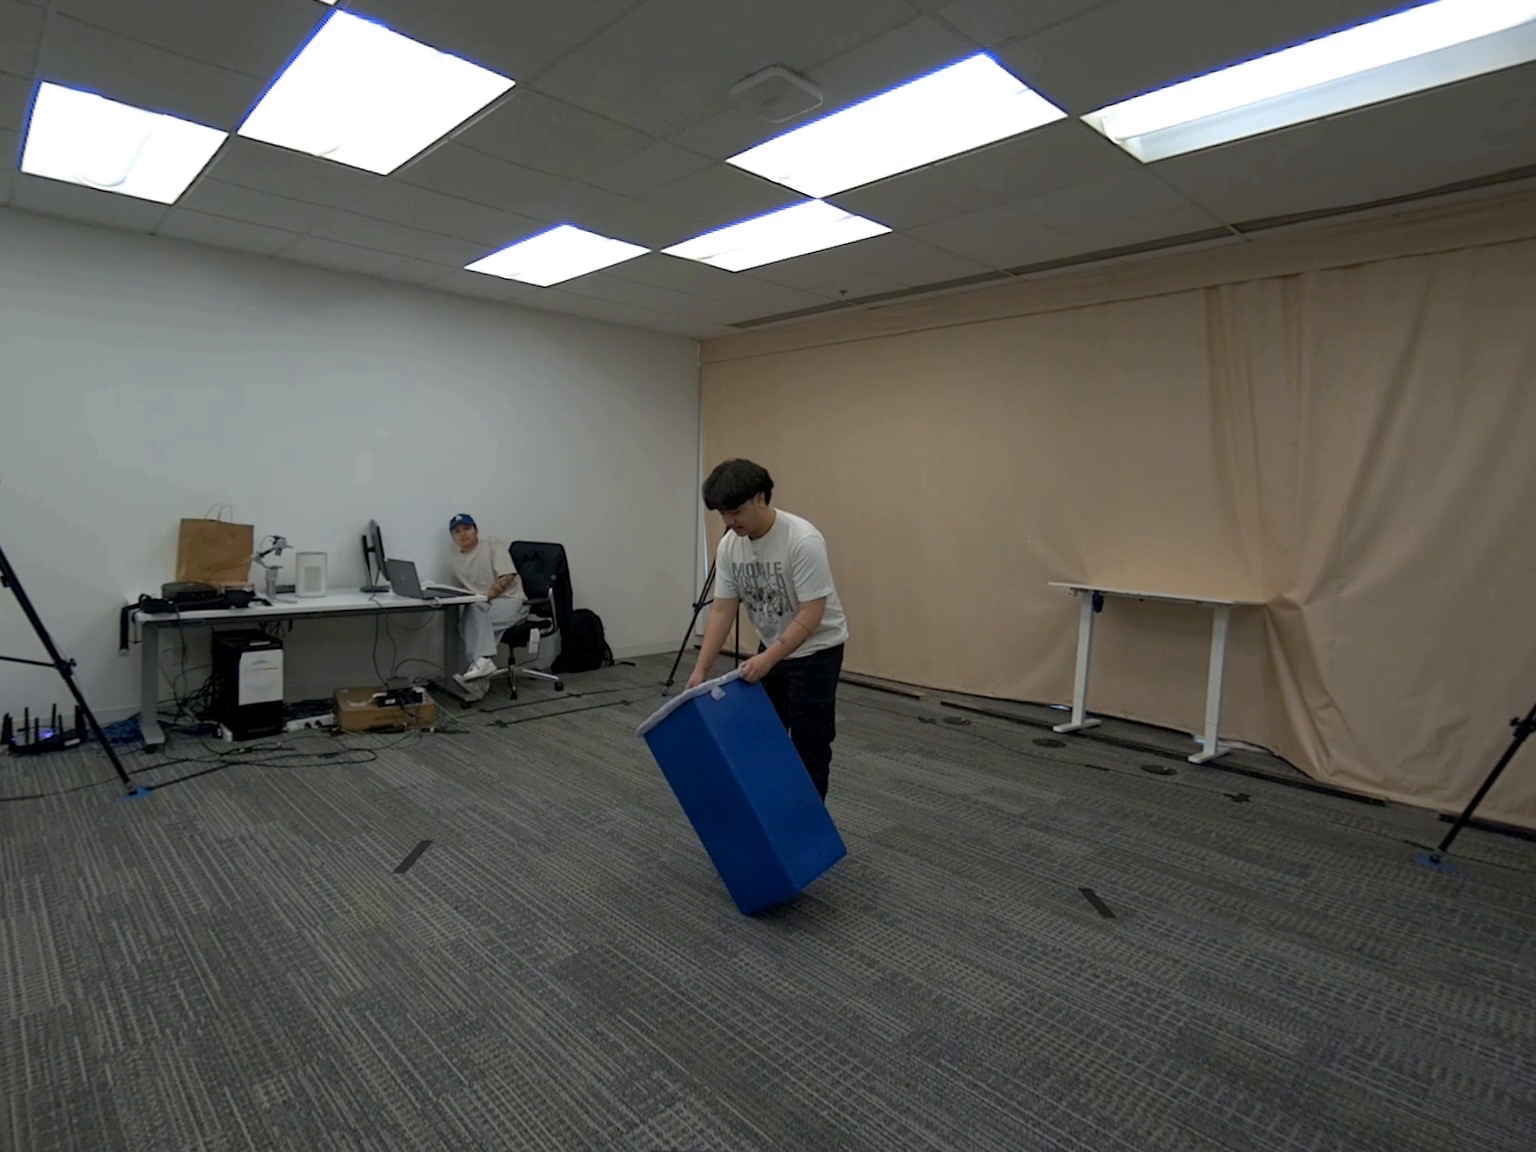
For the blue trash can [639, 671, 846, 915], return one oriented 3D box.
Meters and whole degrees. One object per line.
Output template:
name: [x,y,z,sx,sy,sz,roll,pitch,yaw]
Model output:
blue trash can: [-0.100,0.737,2.930,0.371,0.724,0.375,-12,-22,-49]
